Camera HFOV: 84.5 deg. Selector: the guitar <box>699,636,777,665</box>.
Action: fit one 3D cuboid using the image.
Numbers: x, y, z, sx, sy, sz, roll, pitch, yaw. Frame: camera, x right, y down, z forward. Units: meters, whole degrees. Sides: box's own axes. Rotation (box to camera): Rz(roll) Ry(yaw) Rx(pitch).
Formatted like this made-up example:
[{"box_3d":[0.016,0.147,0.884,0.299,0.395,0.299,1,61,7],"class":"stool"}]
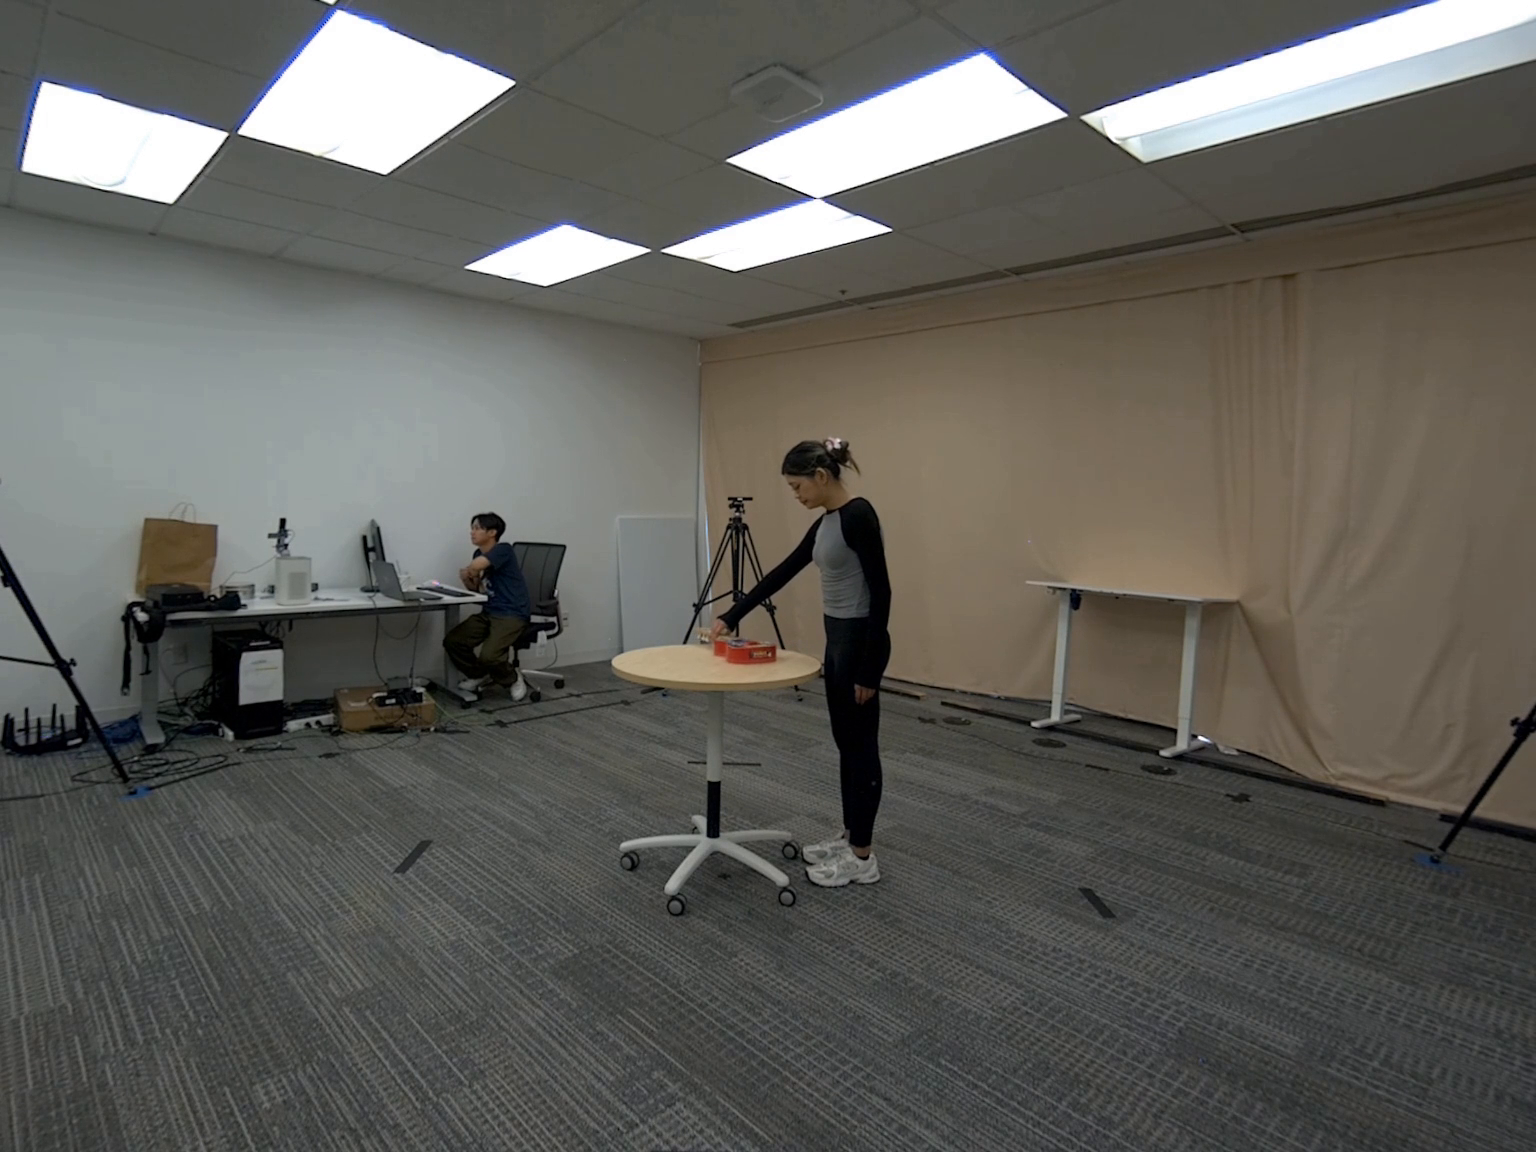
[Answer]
[{"box_3d":[-0.129,0.266,3.293,0.190,0.070,0.507,0,5,-21],"class":"guitar"}]
